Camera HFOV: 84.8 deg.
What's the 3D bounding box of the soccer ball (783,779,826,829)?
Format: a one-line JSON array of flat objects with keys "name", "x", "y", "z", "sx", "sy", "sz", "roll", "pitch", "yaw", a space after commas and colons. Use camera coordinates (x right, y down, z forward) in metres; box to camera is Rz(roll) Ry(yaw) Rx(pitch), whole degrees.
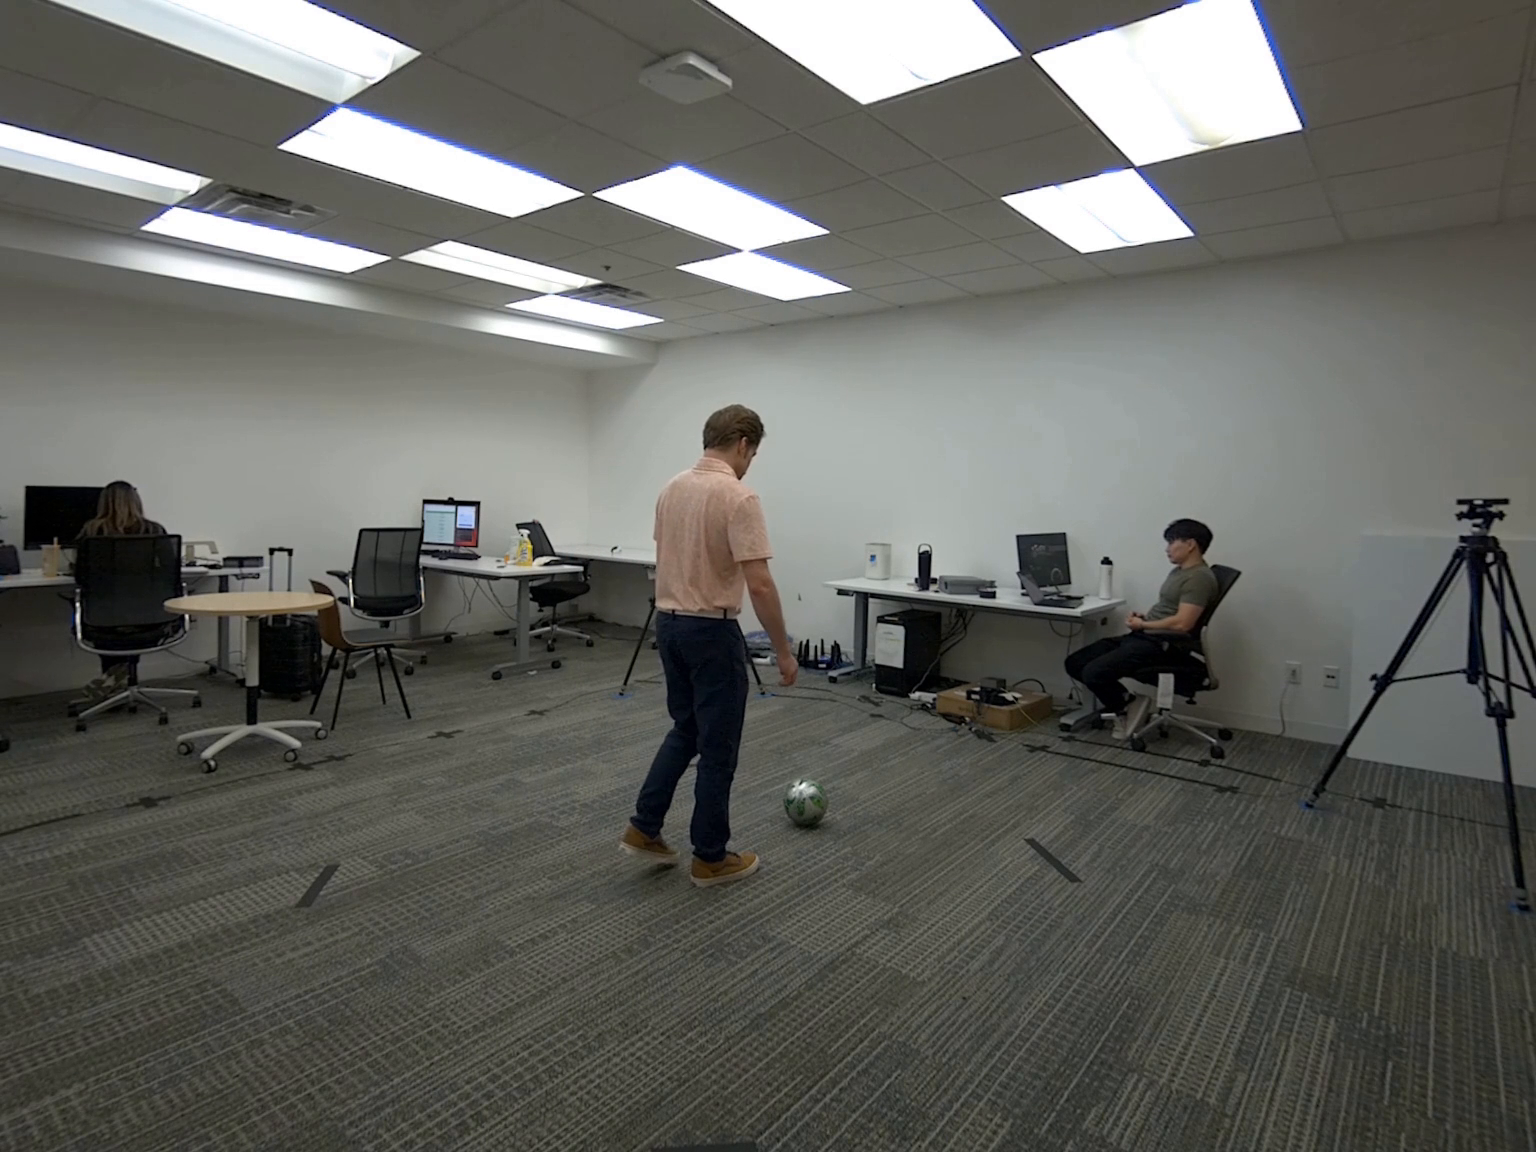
[{"name": "soccer ball", "x": 0.147, "y": 0.939, "z": 3.553, "sx": 0.187, "sy": 0.187, "sz": 0.188, "roll": 1, "pitch": 4, "yaw": -2}]
